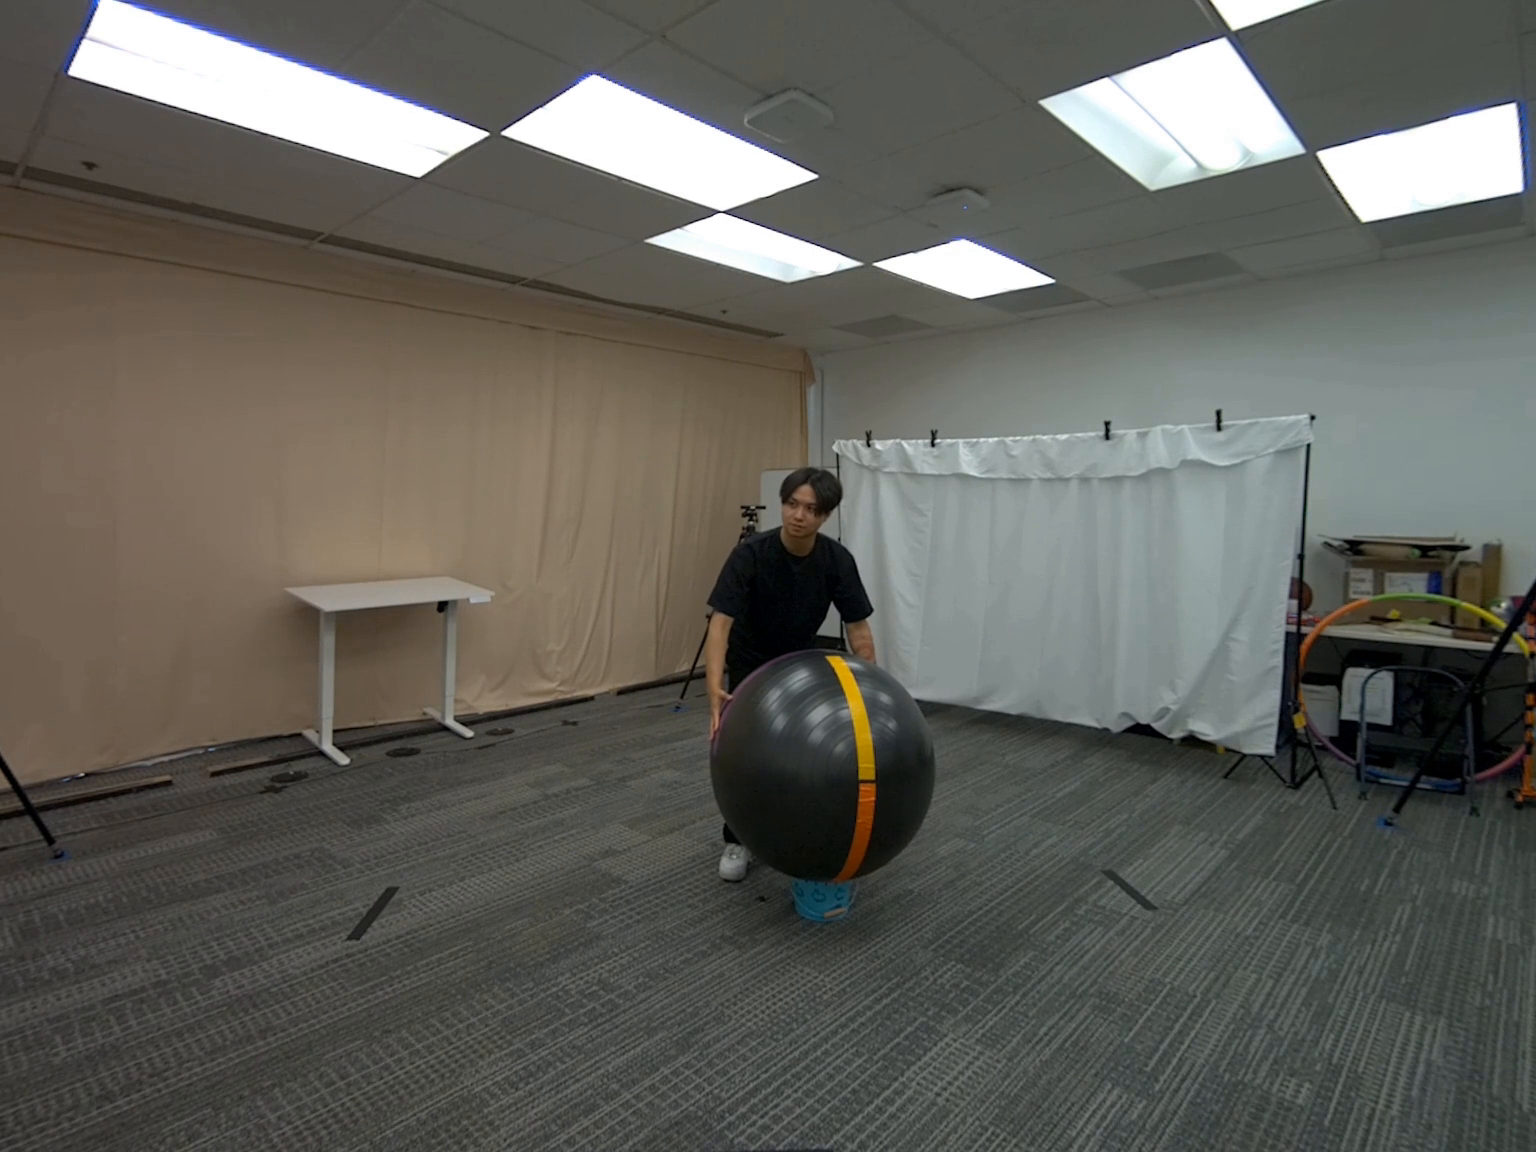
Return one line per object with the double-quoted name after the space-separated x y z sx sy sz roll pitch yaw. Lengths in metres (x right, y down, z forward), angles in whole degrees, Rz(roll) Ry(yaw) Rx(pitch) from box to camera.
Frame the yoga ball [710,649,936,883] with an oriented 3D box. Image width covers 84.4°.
0.188 0.639 2.865 0.757 0.756 0.760 0 4 -2 "yoga ball"
